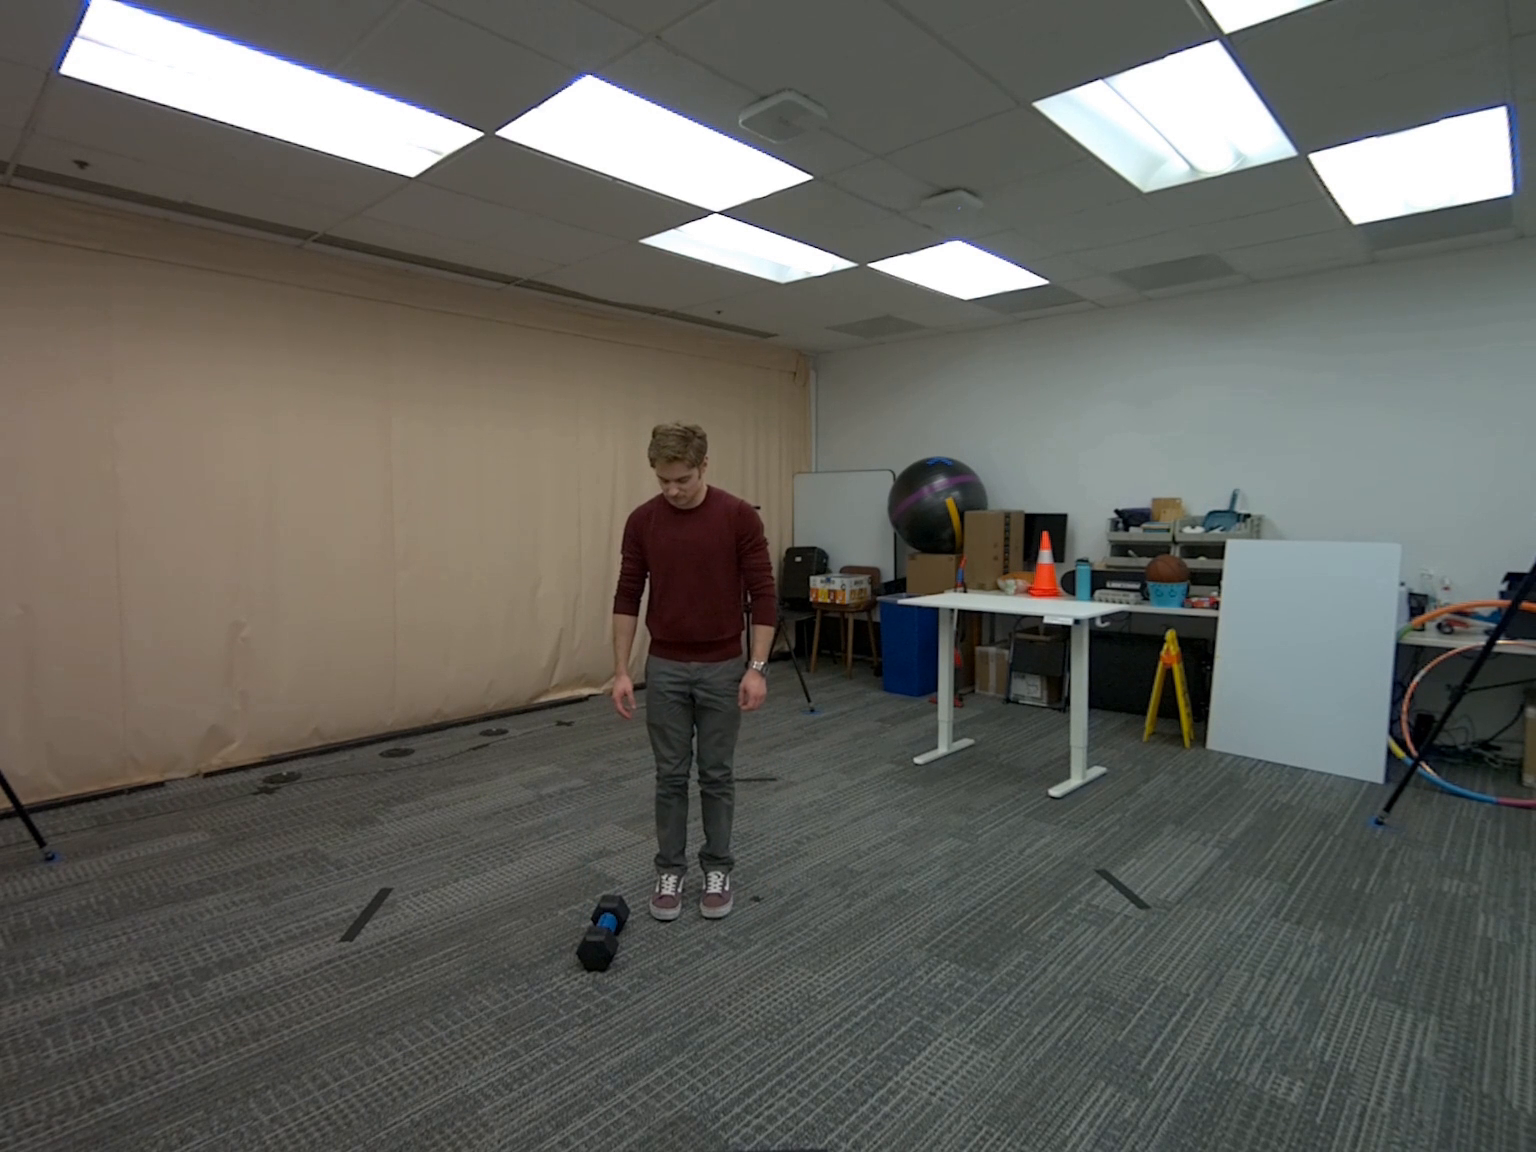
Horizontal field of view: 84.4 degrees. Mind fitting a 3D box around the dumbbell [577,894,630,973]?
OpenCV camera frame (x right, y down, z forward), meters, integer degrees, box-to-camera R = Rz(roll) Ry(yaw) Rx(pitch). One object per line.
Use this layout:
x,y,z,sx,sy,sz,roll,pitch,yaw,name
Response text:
-0.516,1.124,2.651,0.109,0.123,0.294,31,4,-2,dumbbell
